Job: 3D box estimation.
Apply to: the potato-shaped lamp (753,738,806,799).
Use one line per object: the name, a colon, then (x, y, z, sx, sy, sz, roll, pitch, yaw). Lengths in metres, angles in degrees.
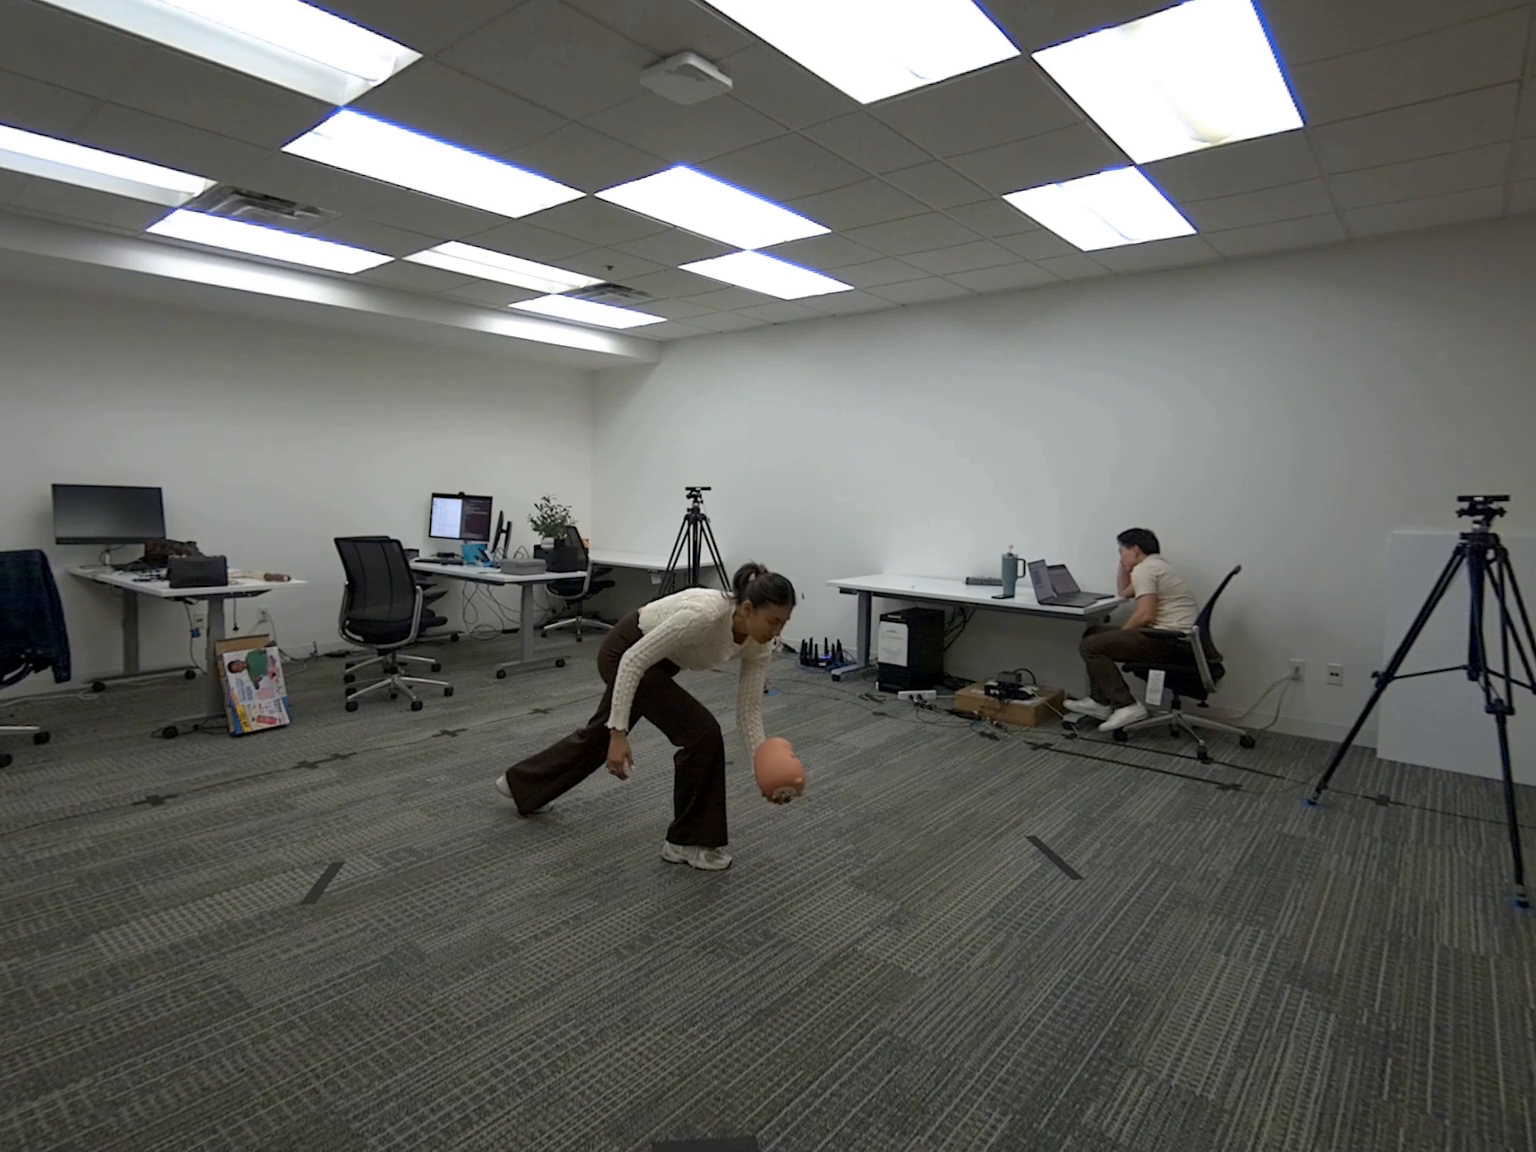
potato-shaped lamp: (0.031, 0.648, 2.924, 0.172, 0.204, 0.159, -9, -42, 5)
